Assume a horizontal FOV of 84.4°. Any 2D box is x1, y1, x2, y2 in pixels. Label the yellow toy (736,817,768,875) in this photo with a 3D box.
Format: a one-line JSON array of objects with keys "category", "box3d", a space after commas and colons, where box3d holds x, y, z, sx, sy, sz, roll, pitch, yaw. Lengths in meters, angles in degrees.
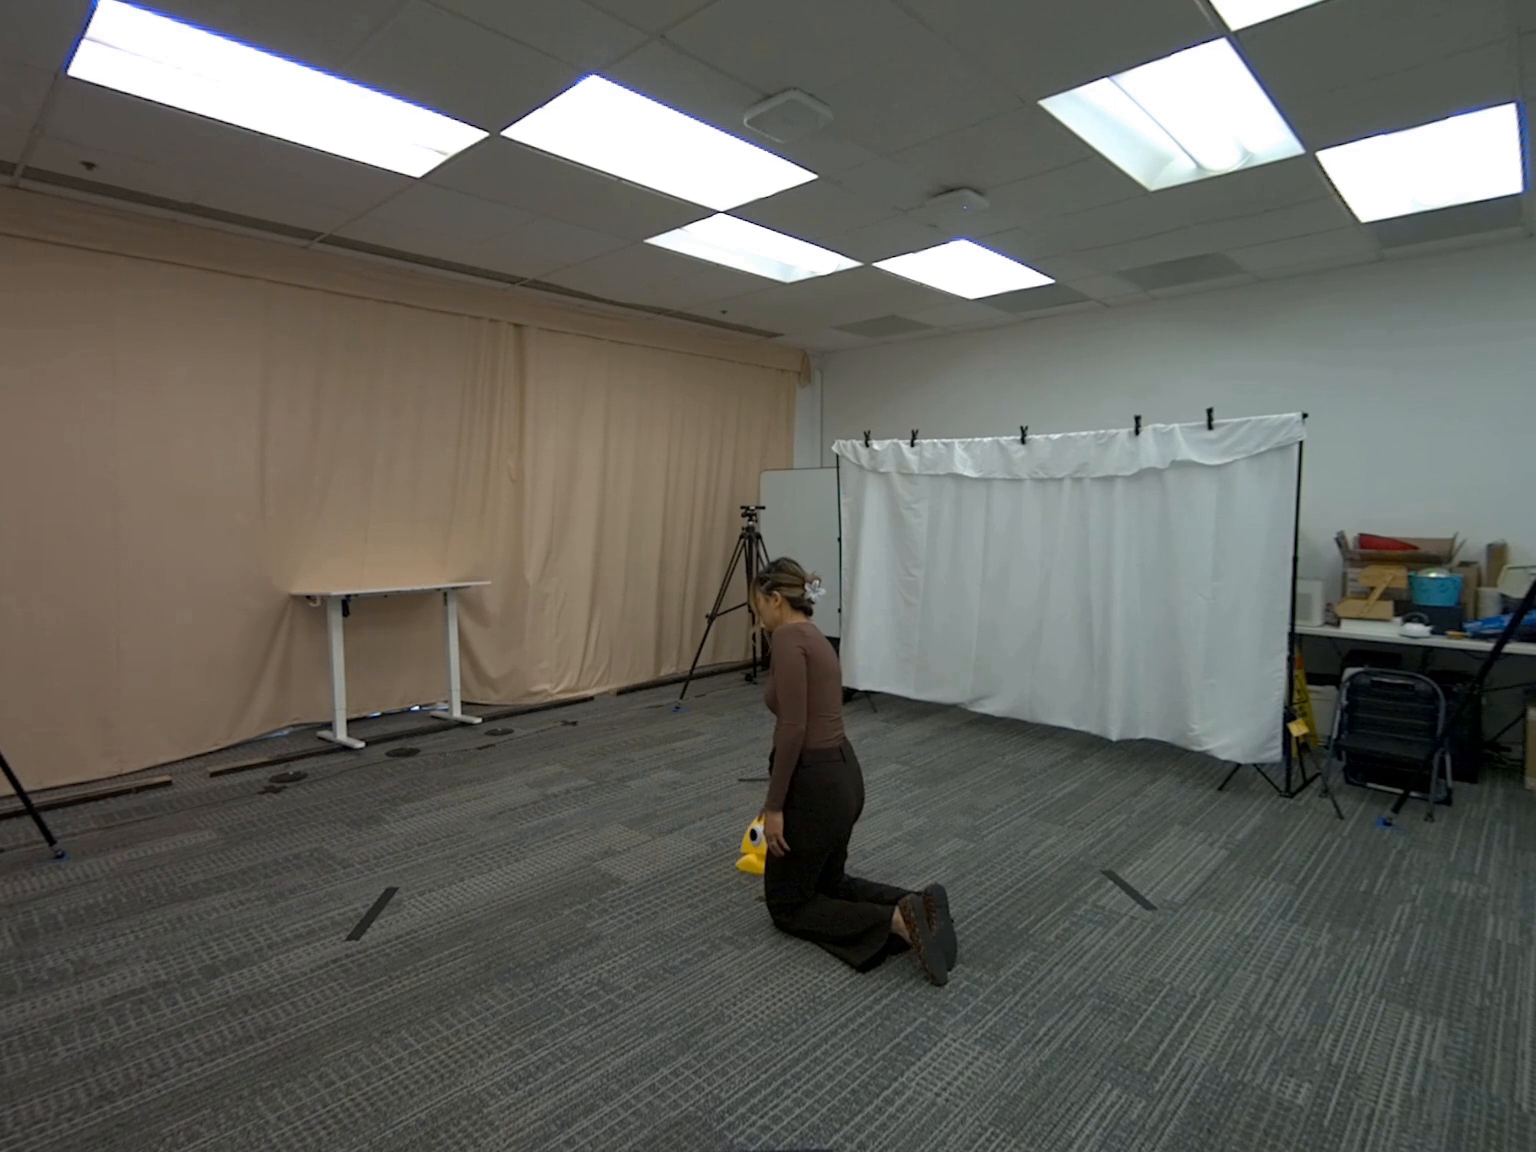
[{"category": "yellow toy", "box3d": [-0.017, 1.006, 3.276, 0.198, 0.230, 0.200, 2, 4, 24]}]
